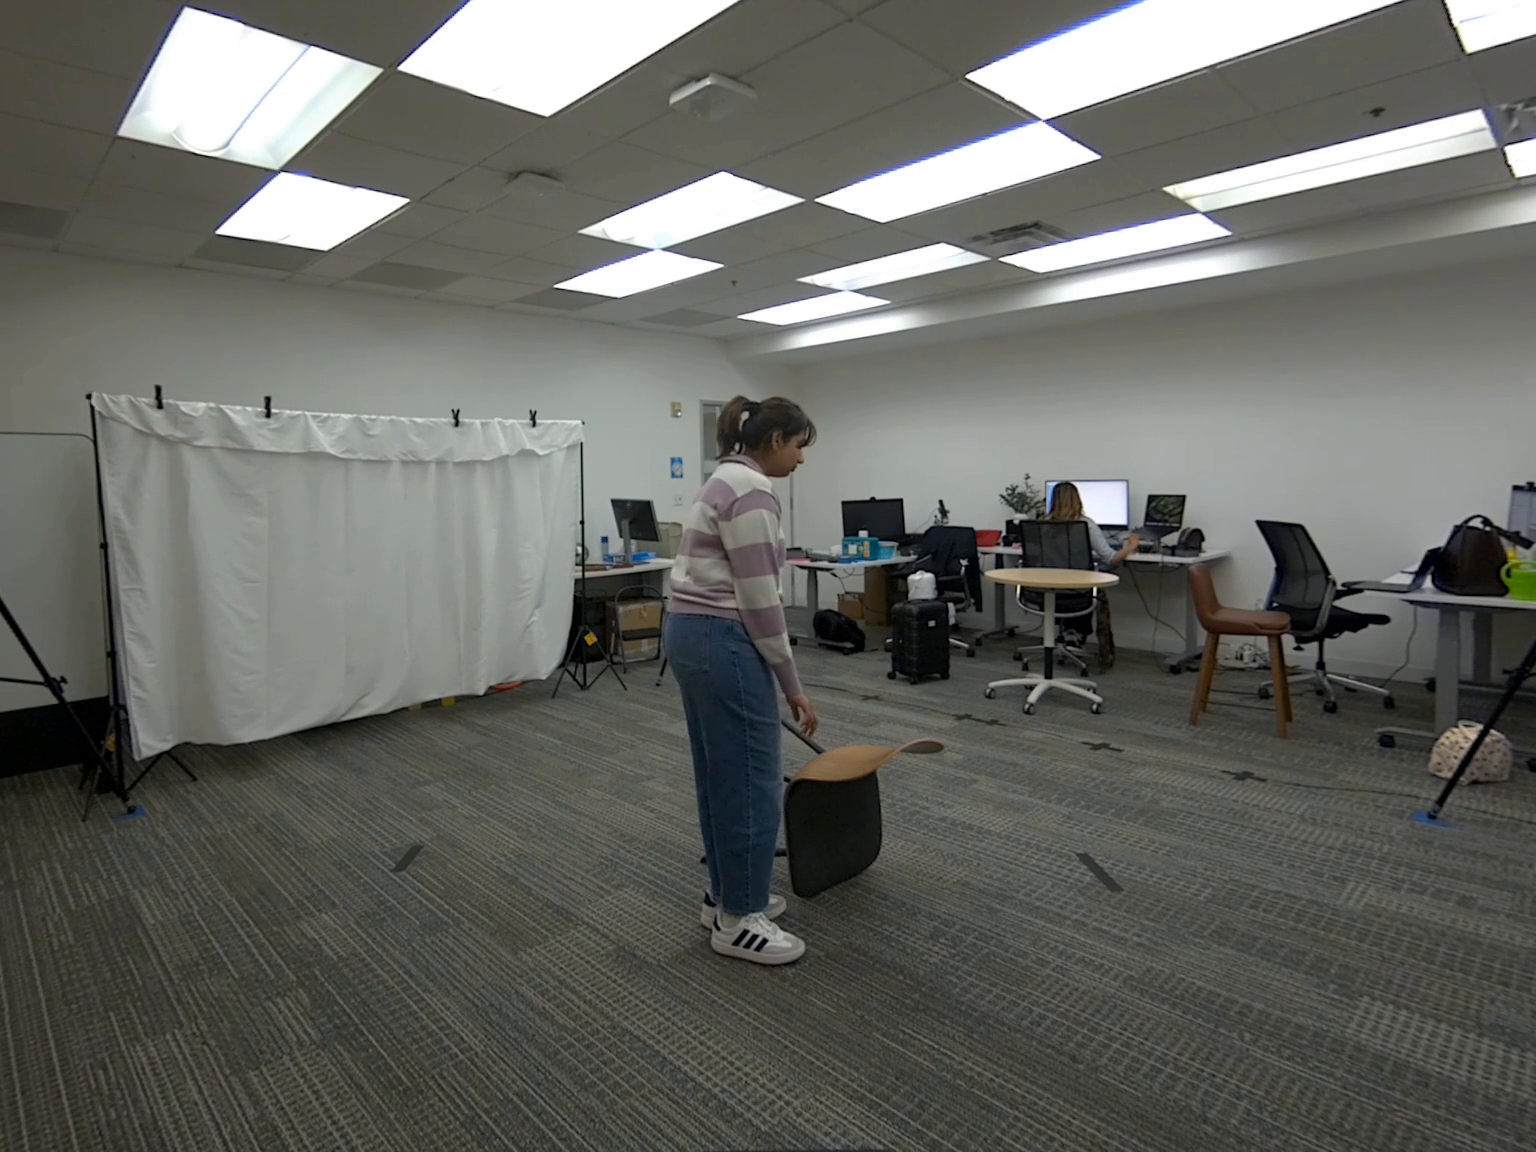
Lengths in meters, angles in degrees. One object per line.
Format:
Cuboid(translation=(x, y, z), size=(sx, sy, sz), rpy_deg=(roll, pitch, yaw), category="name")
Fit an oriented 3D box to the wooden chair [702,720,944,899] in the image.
Cuboid(translation=(0.199, 0.806, 2.953), size=(0.465, 0.525, 0.899), rpy_deg=(-4, -2, -42), category="wooden chair")
